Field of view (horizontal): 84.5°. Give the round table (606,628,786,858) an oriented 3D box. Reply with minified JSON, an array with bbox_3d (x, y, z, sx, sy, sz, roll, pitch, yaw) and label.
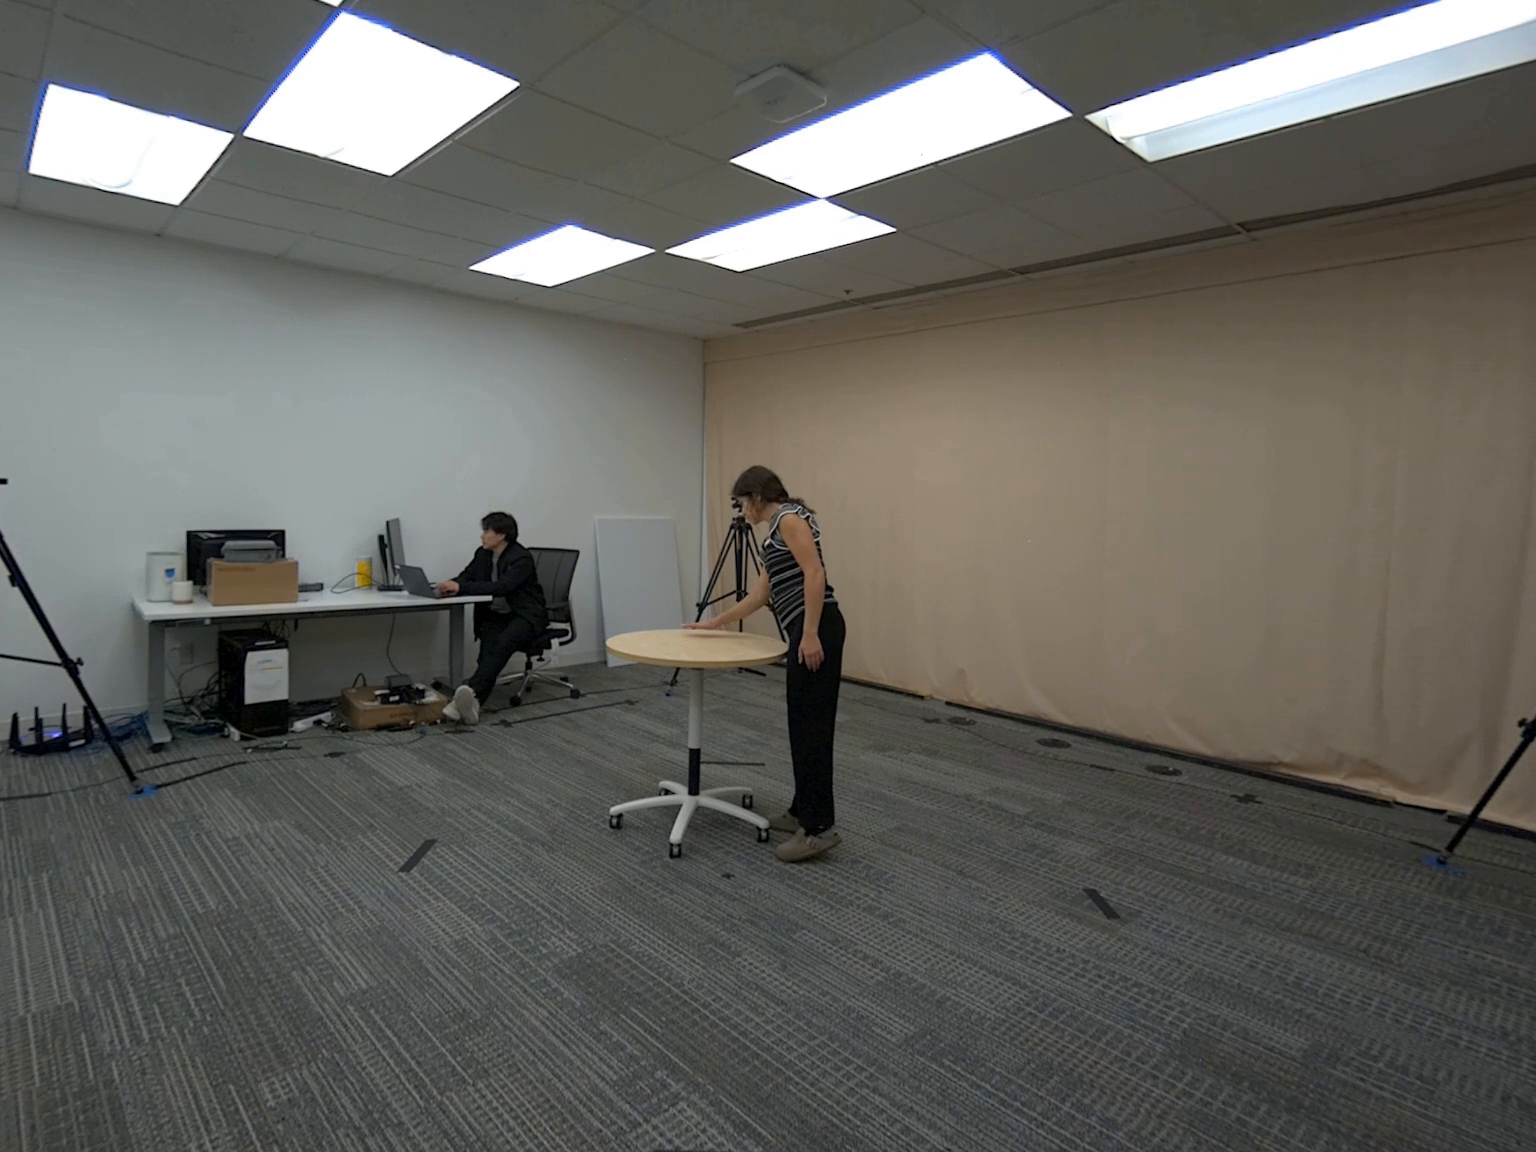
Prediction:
[{"bbox_3d":[-0.319,0.674,3.548,0.763,0.792,0.766,2,4,-1],"label":"round table"}]
